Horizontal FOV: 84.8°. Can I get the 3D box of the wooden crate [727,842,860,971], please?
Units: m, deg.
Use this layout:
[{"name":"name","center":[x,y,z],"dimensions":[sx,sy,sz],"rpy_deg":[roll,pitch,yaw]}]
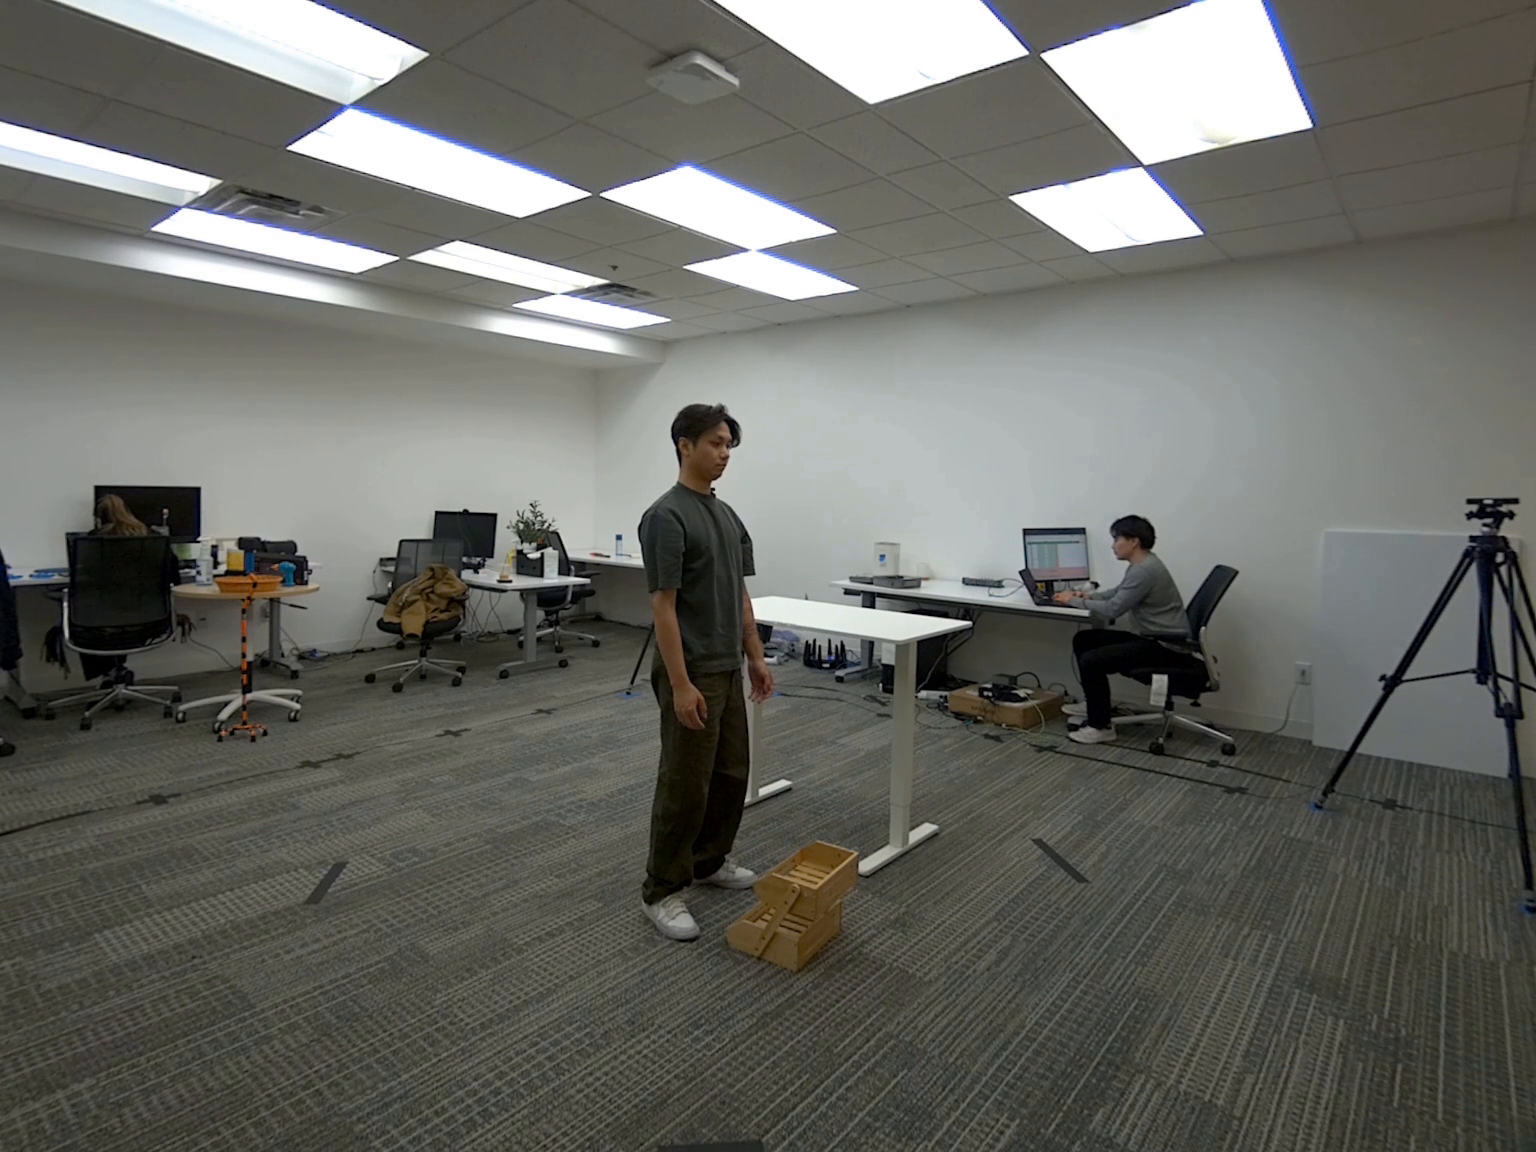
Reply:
[{"name":"wooden crate","center":[0.064,0.981,2.629],"dimensions":[0.311,0.272,0.316],"rpy_deg":[6,6,31]}]
